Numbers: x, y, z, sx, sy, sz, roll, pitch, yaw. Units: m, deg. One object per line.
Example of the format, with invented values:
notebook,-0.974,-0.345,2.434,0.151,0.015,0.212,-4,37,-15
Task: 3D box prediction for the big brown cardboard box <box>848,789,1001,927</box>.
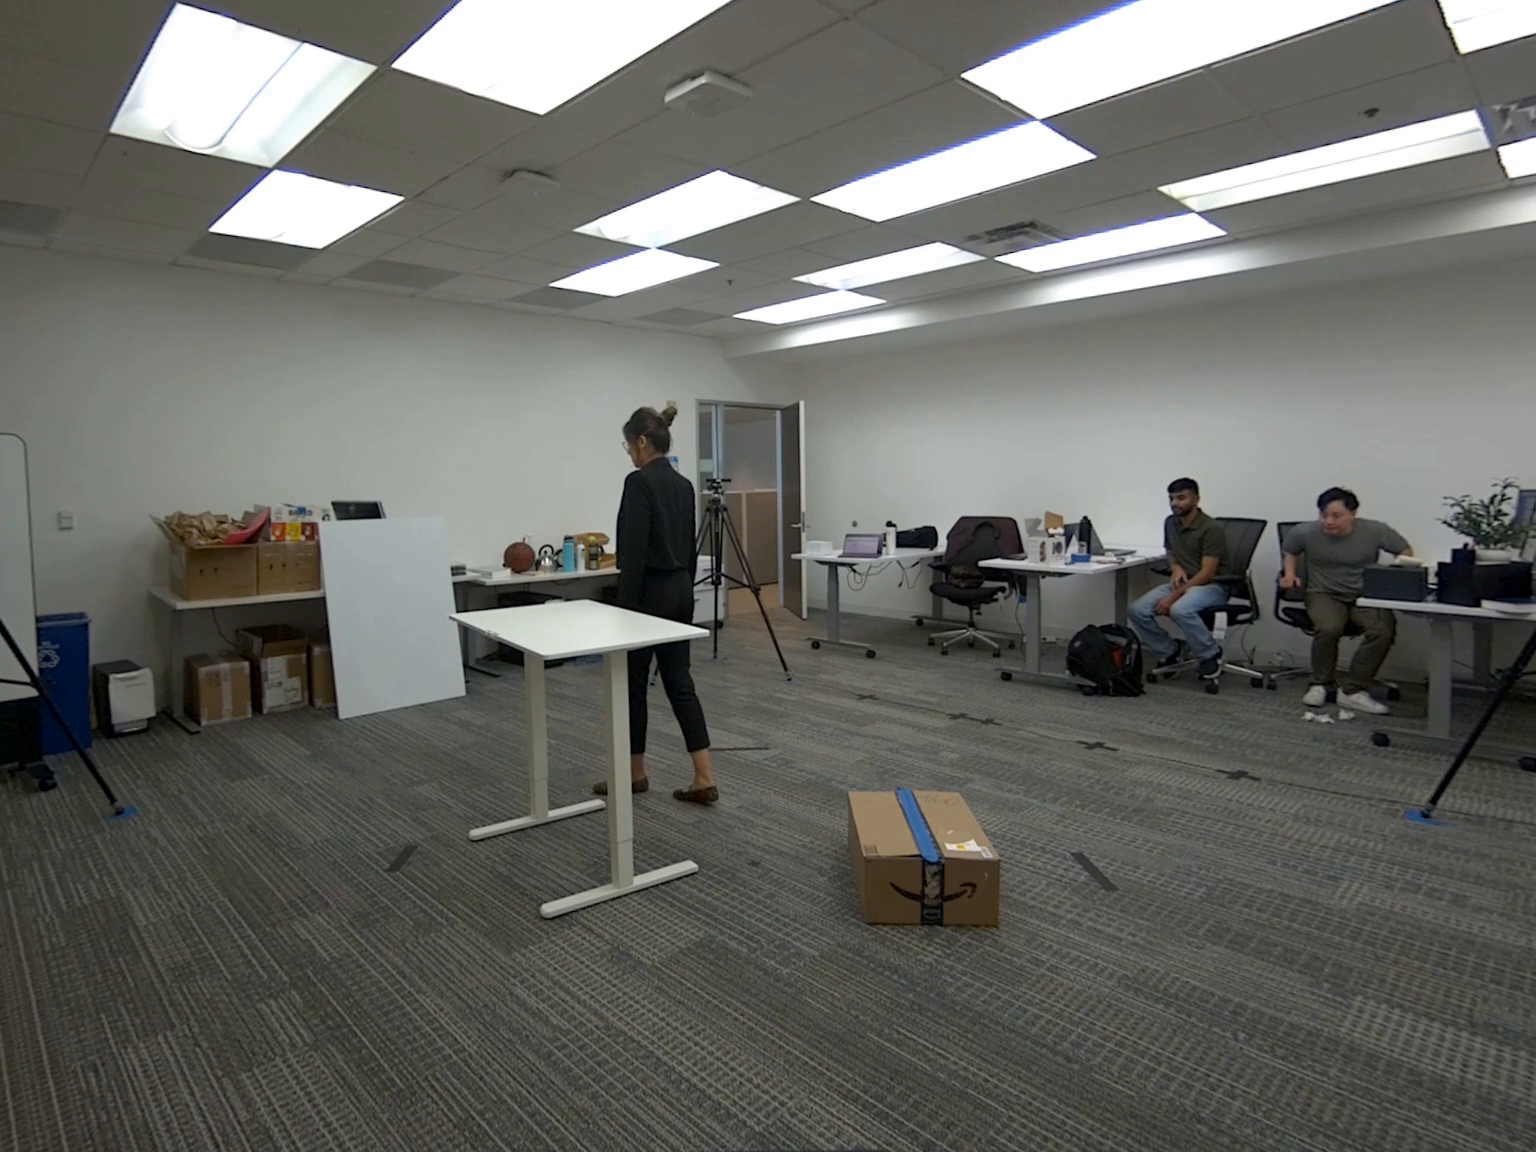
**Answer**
big brown cardboard box,0.510,0.943,2.921,0.418,0.232,0.590,-1,5,1
